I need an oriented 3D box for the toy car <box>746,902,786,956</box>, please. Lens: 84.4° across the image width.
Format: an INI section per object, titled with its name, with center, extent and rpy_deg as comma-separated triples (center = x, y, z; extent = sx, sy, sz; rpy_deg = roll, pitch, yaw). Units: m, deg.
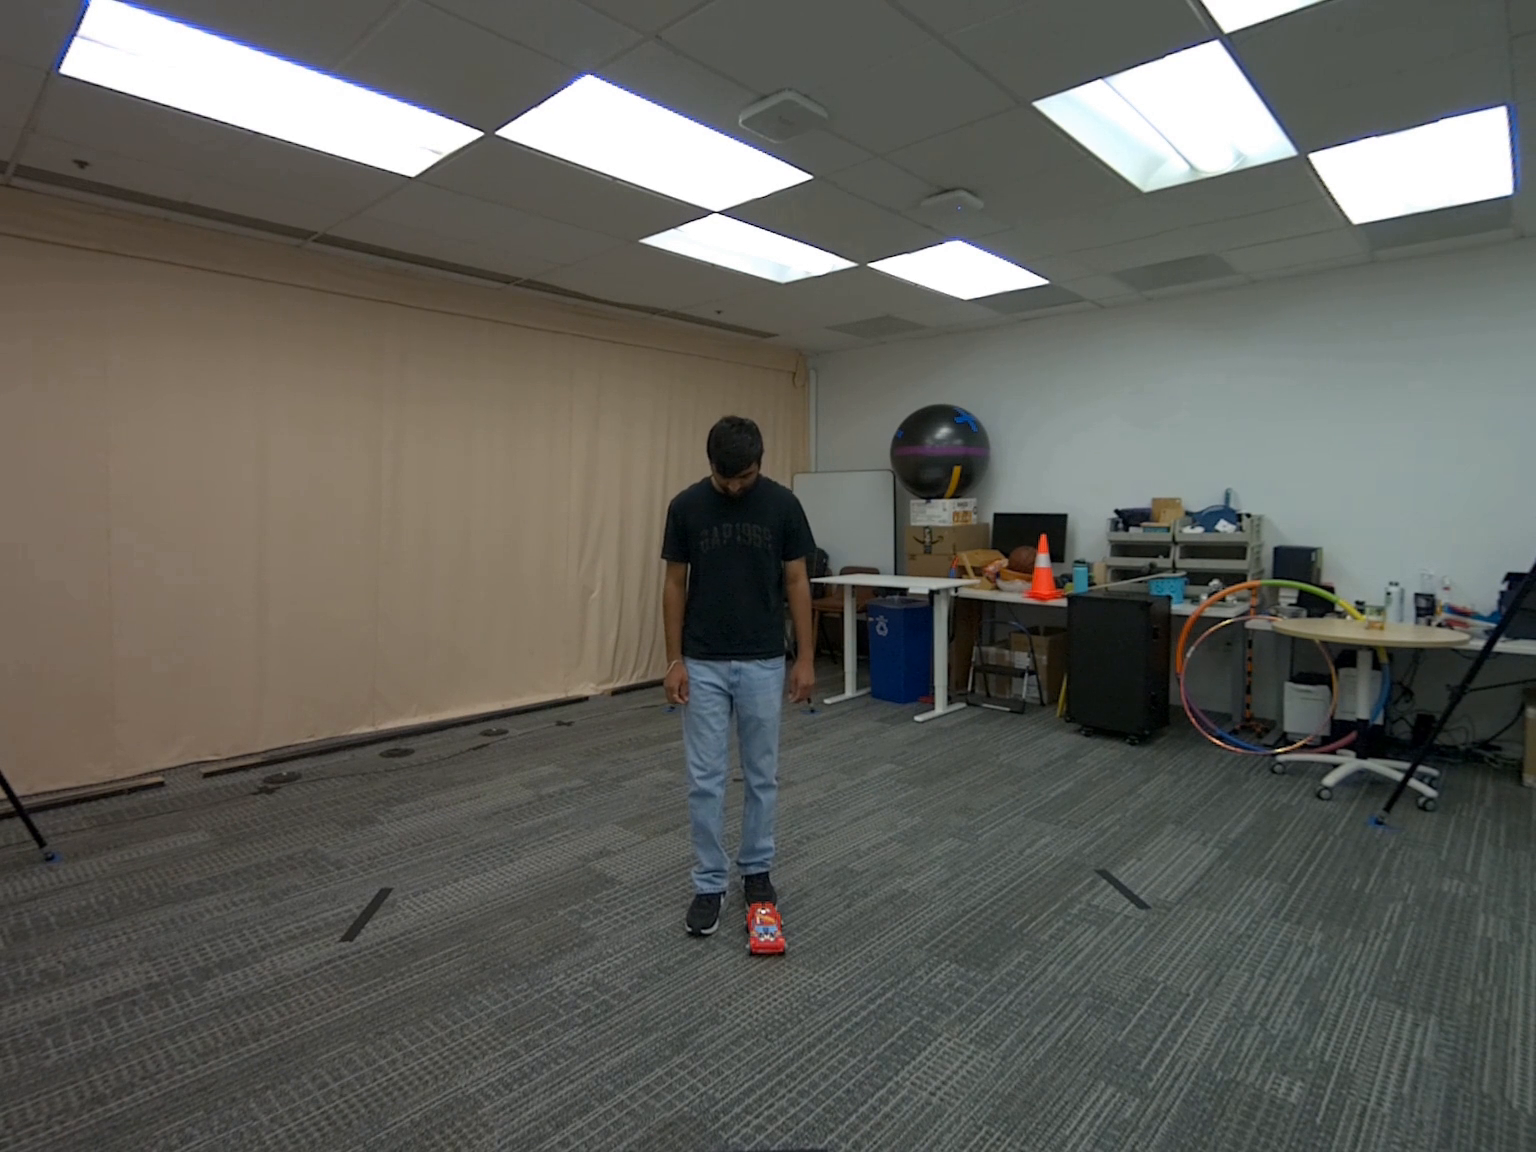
[toy car]
center = -0.011, 1.126, 2.710
extent = 0.130, 0.082, 0.257
rpy_deg = -2, 17, -2
